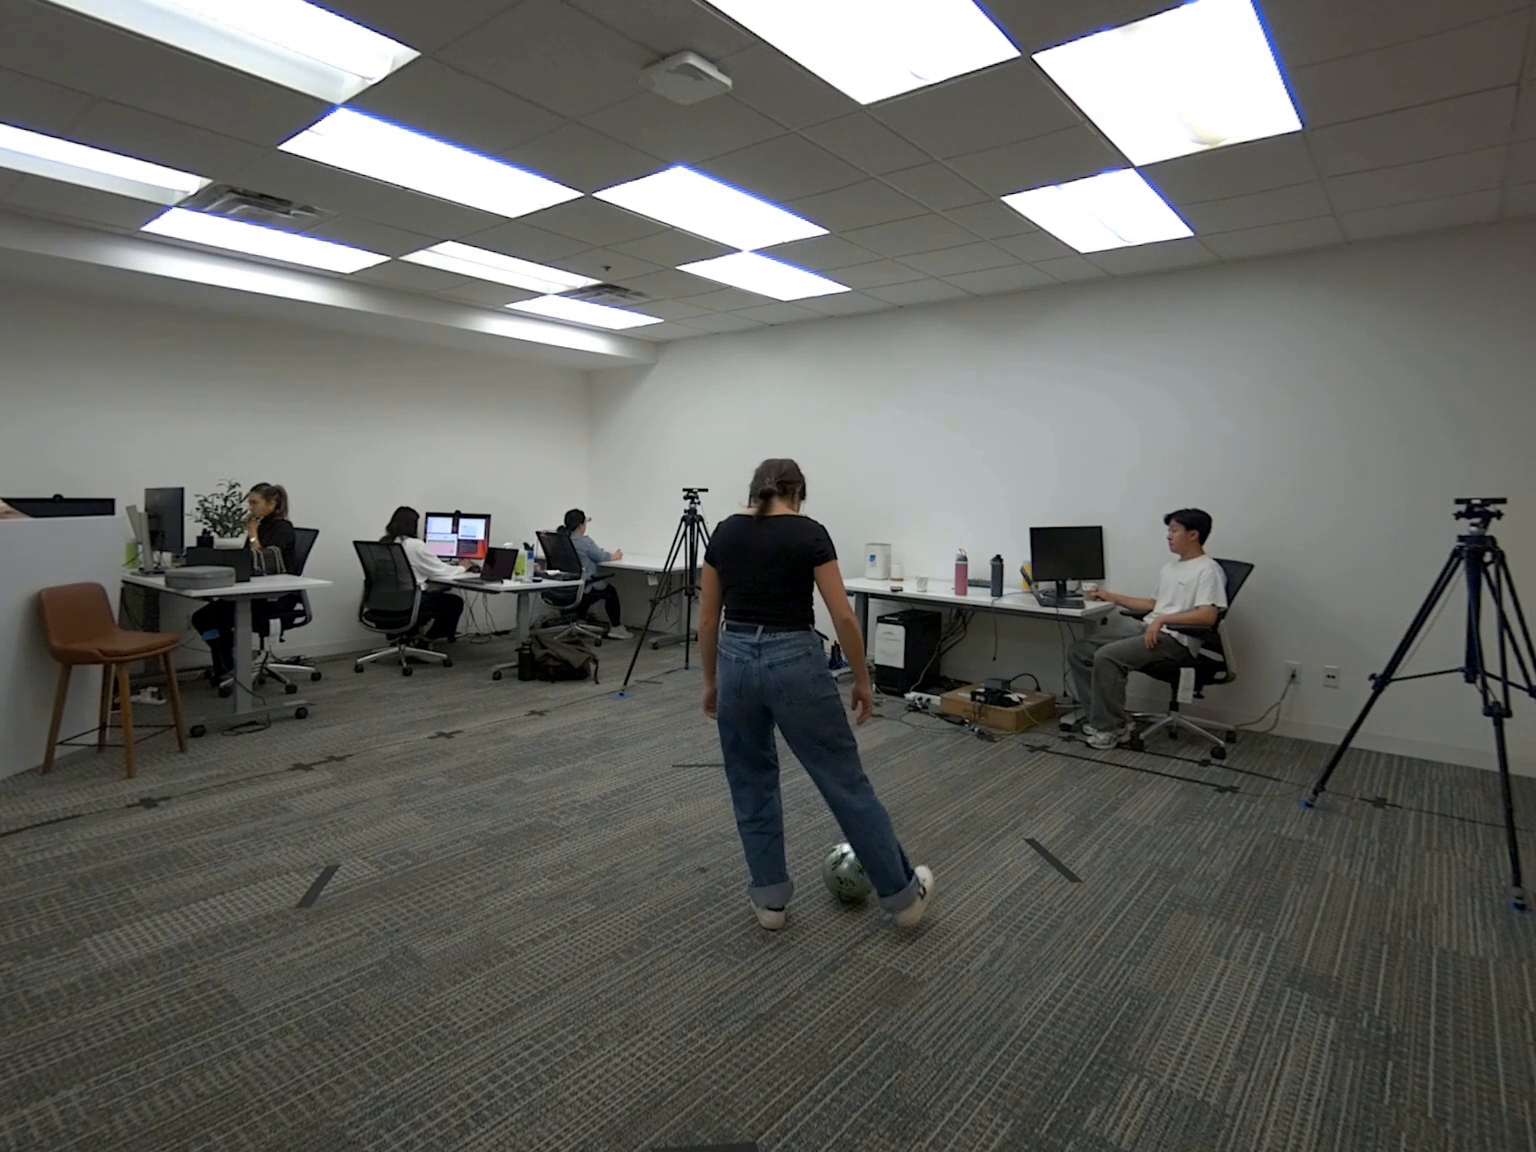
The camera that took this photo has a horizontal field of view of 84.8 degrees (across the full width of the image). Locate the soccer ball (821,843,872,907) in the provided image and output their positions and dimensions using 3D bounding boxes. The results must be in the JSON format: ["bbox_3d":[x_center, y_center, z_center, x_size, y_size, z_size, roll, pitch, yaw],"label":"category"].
[{"bbox_3d":[0.278,1.001,2.903,0.187,0.187,0.188,1,4,-2],"label":"soccer ball"}]
